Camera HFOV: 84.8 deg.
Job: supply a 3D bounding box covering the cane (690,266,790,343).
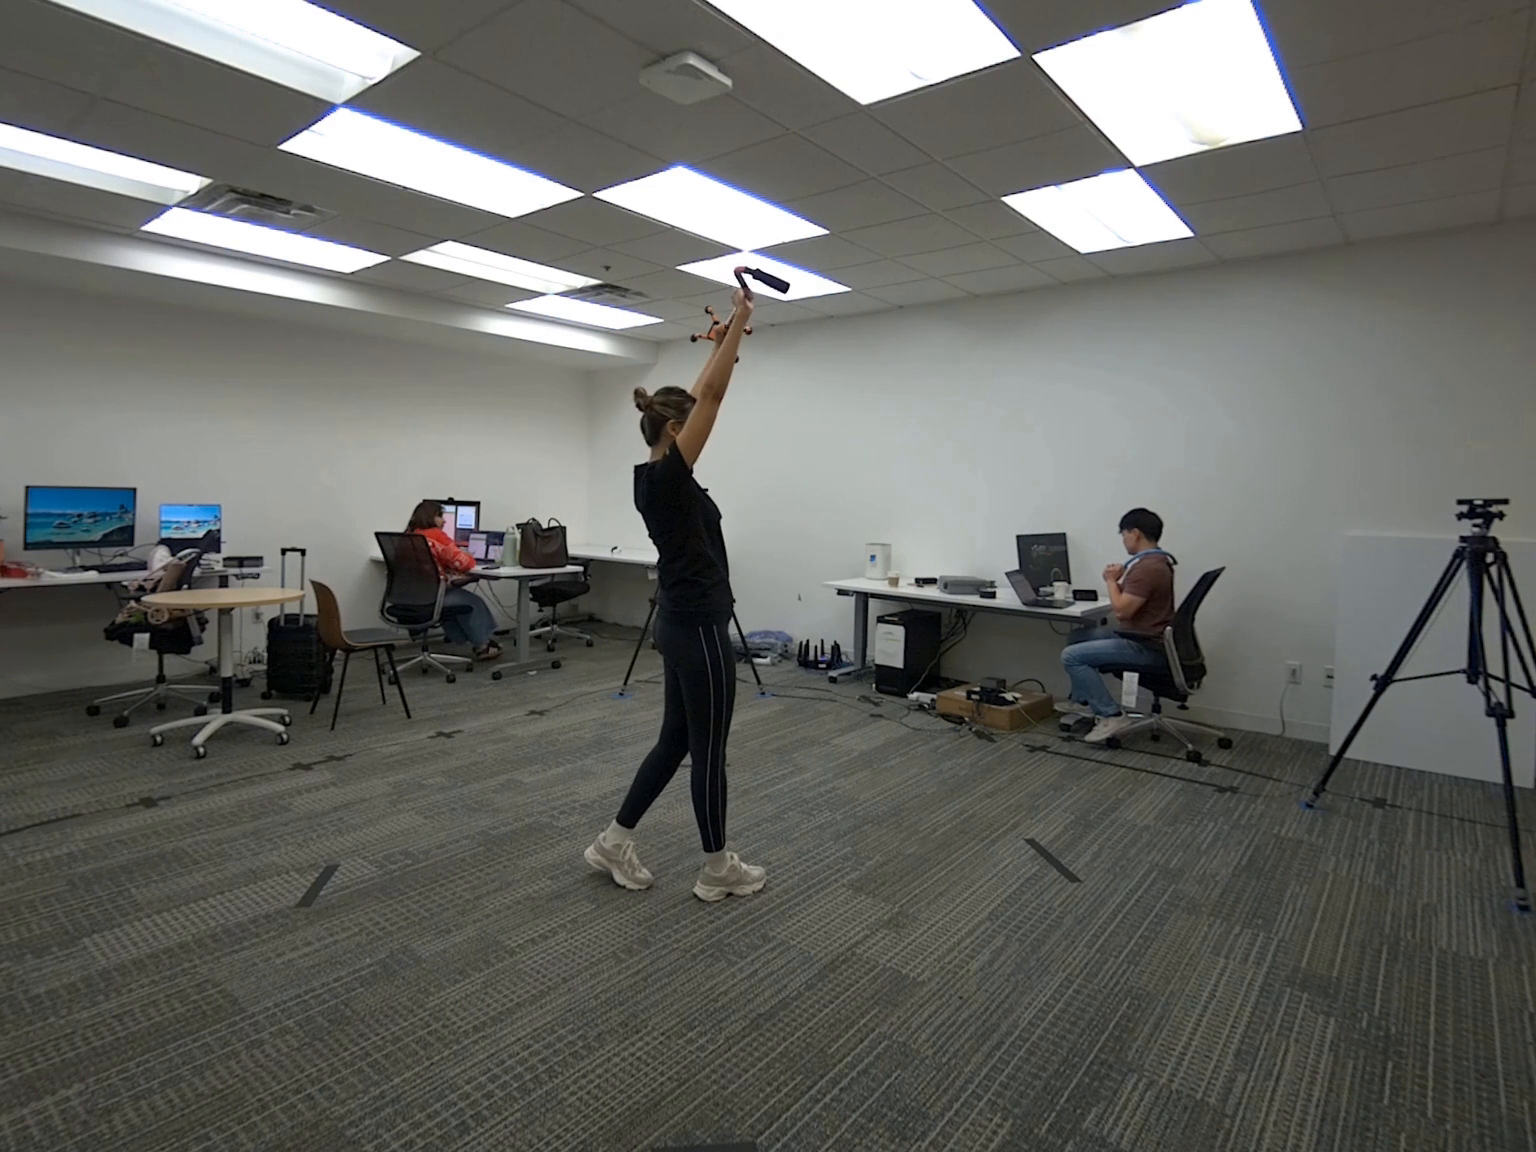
[{"bbox_3d":[-0.106,-0.896,2.827,0.204,0.151,0.918,26,0,-11],"label":"cane"}]
